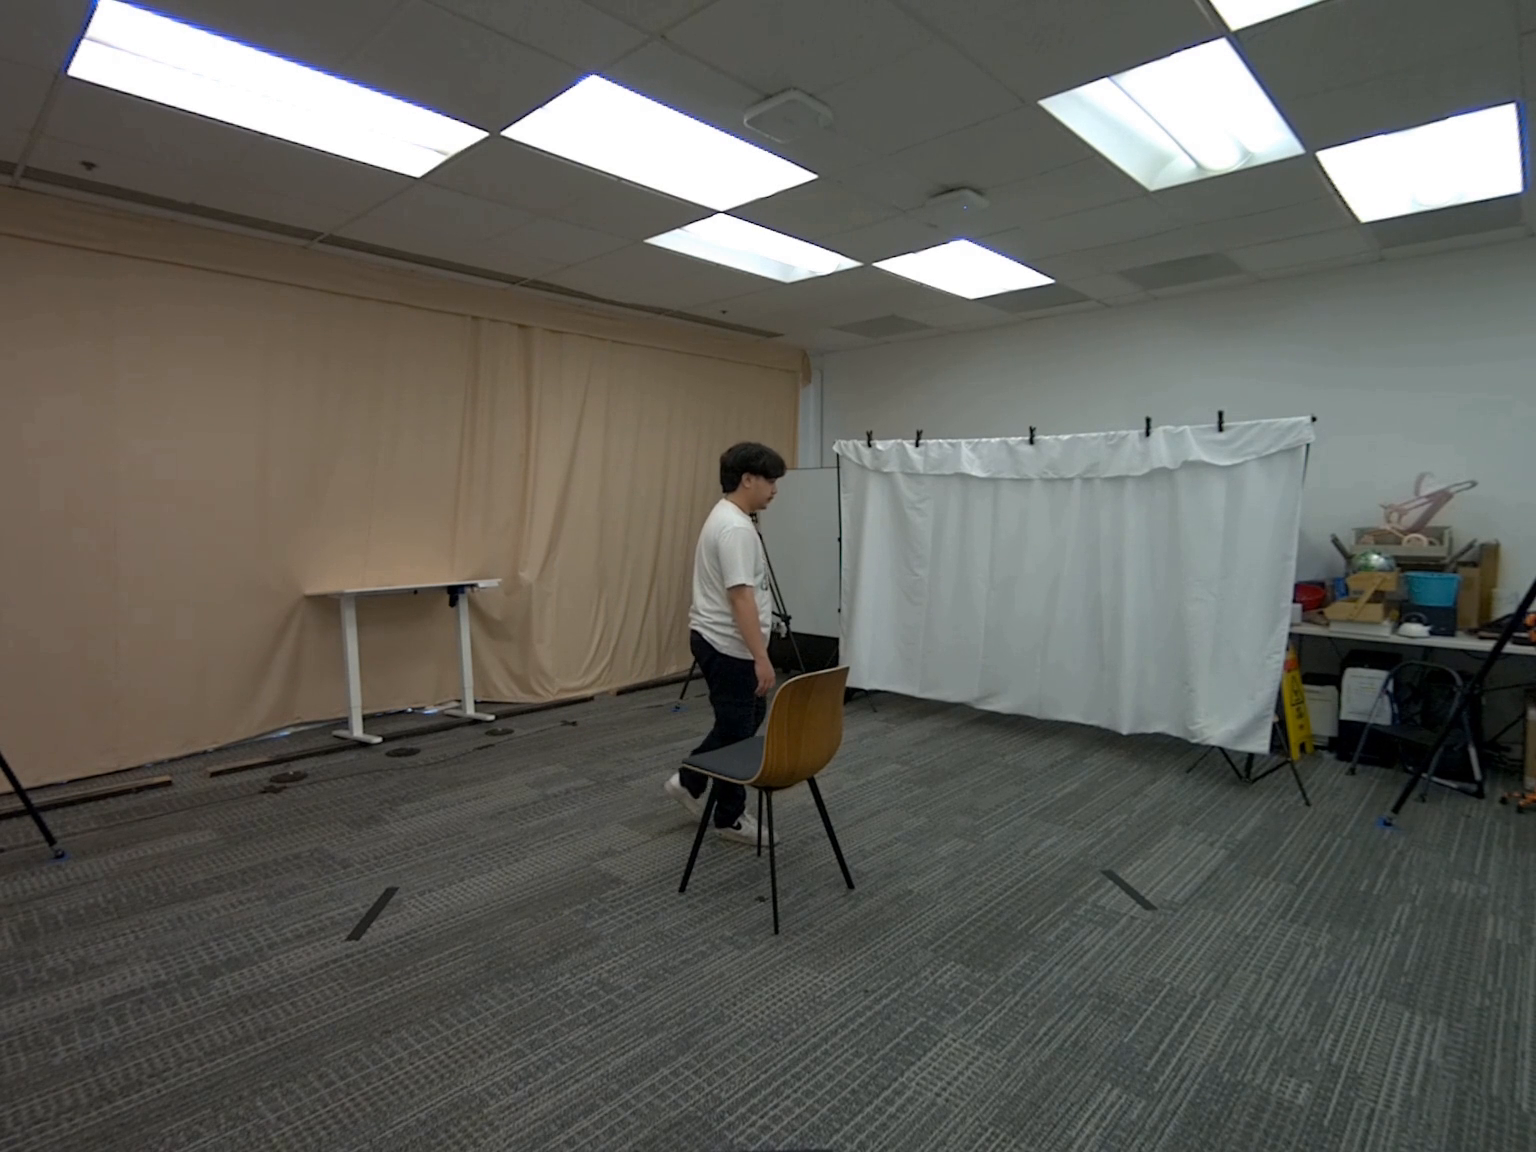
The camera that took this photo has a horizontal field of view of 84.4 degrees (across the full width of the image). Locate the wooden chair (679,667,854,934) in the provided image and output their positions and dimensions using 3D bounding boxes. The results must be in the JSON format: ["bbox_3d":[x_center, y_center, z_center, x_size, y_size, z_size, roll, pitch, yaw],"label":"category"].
[{"bbox_3d":[-0.008,0.714,3.020,0.541,0.874,0.463,8,8,41],"label":"wooden chair"}]
